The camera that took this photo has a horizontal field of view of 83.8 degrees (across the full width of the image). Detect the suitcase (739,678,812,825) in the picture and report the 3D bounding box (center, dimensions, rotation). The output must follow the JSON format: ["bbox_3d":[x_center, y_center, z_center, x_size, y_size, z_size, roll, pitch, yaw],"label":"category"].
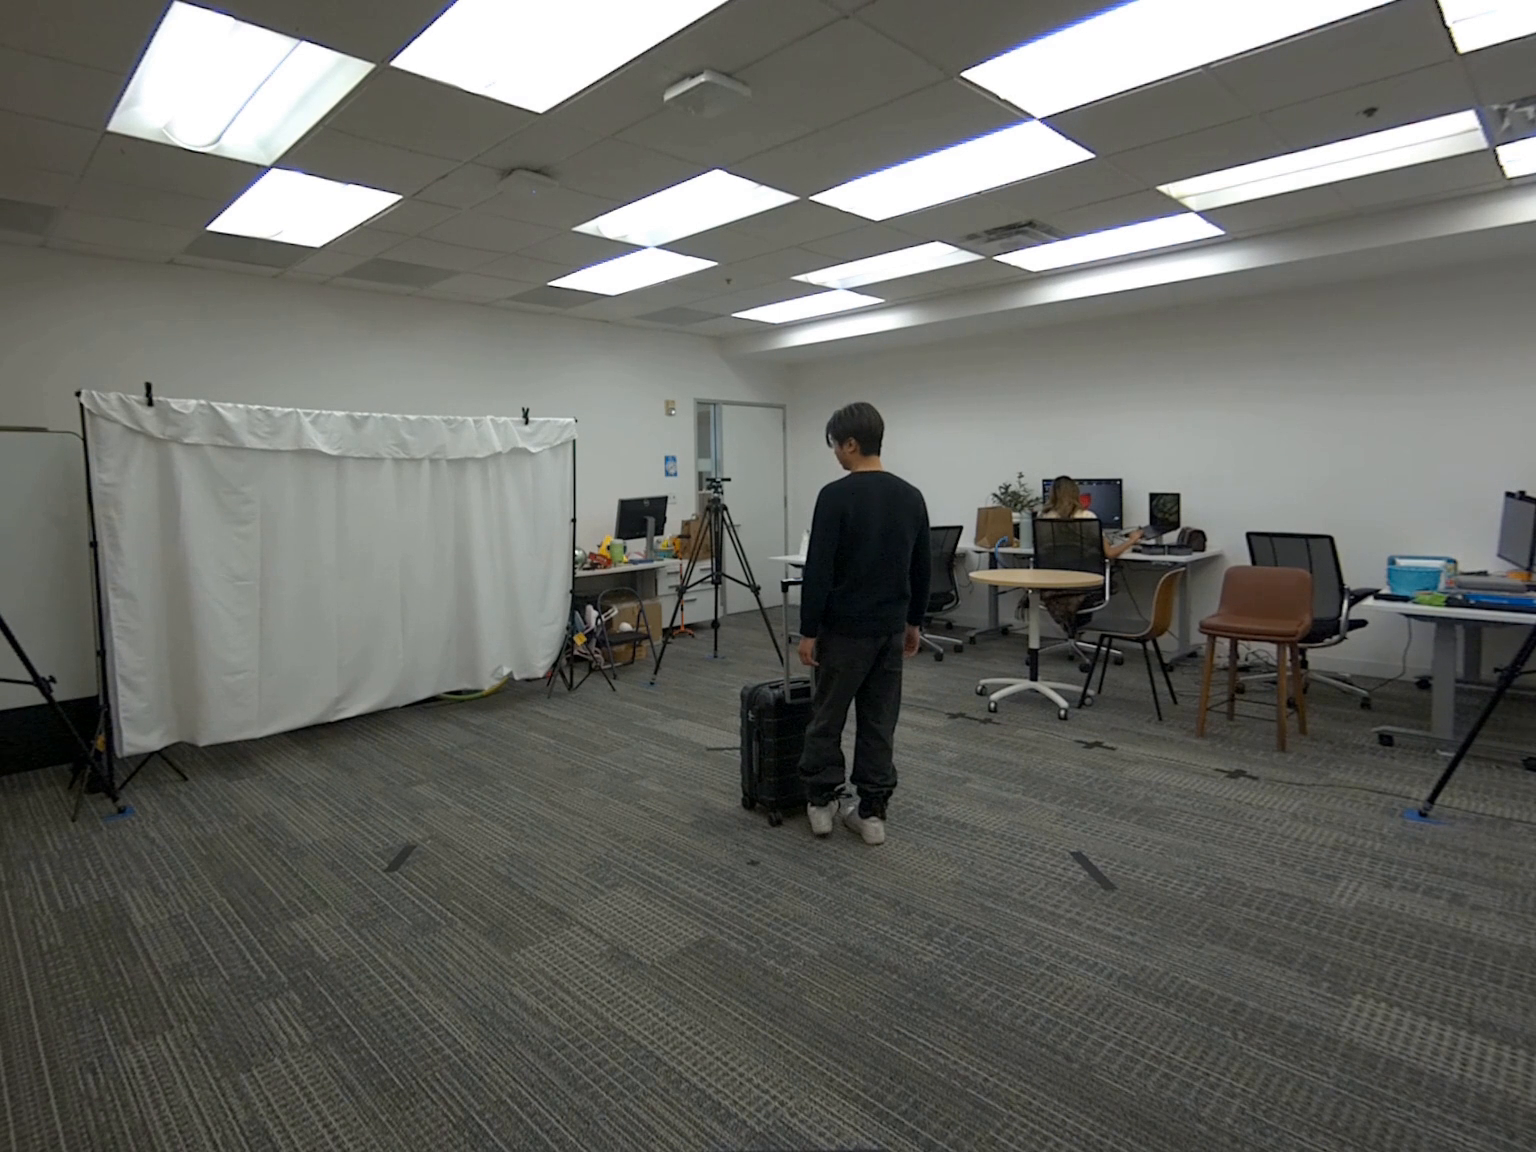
[{"bbox_3d":[0.066,0.505,3.608,0.375,0.978,0.263,-4,1,-28],"label":"suitcase"}]
